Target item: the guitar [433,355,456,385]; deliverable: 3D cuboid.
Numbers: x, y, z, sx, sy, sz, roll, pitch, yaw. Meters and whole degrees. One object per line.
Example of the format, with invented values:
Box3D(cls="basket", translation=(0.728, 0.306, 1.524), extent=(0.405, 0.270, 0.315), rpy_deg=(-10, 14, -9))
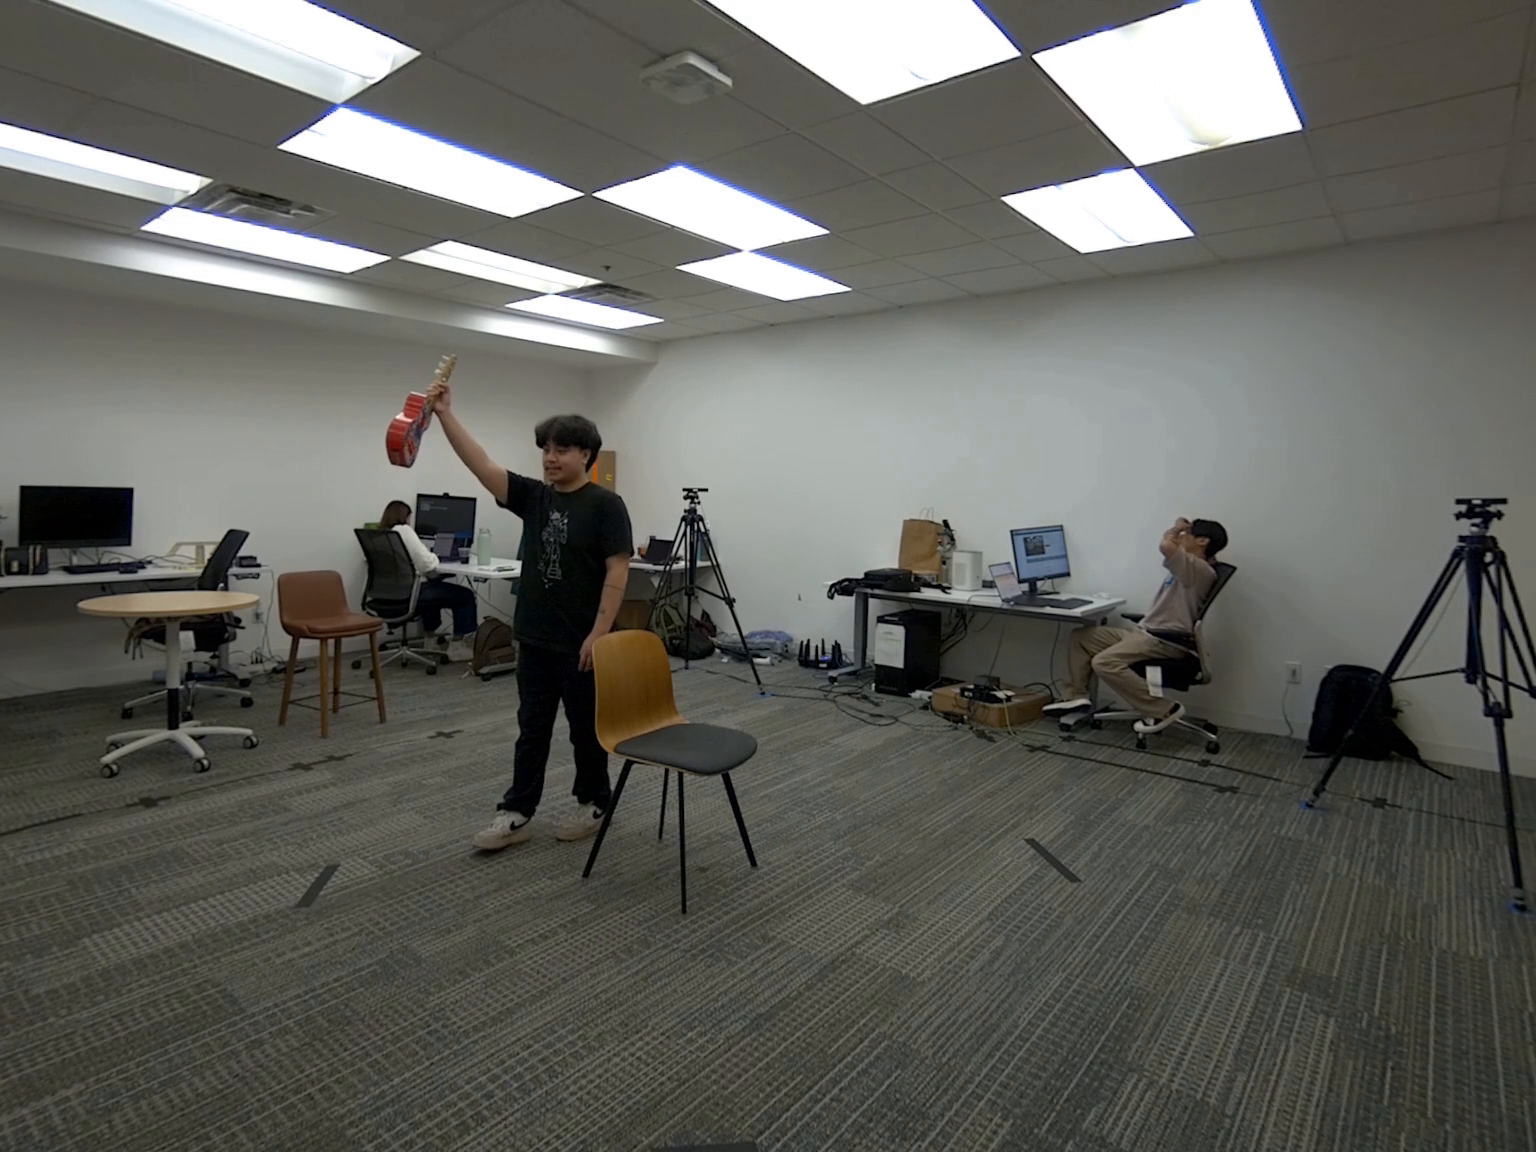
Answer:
Box3D(cls="guitar", translation=(-1.249, -0.600, 3.077), extent=(0.070, 0.508, 0.189), rpy_deg=(13, -40, -3))
